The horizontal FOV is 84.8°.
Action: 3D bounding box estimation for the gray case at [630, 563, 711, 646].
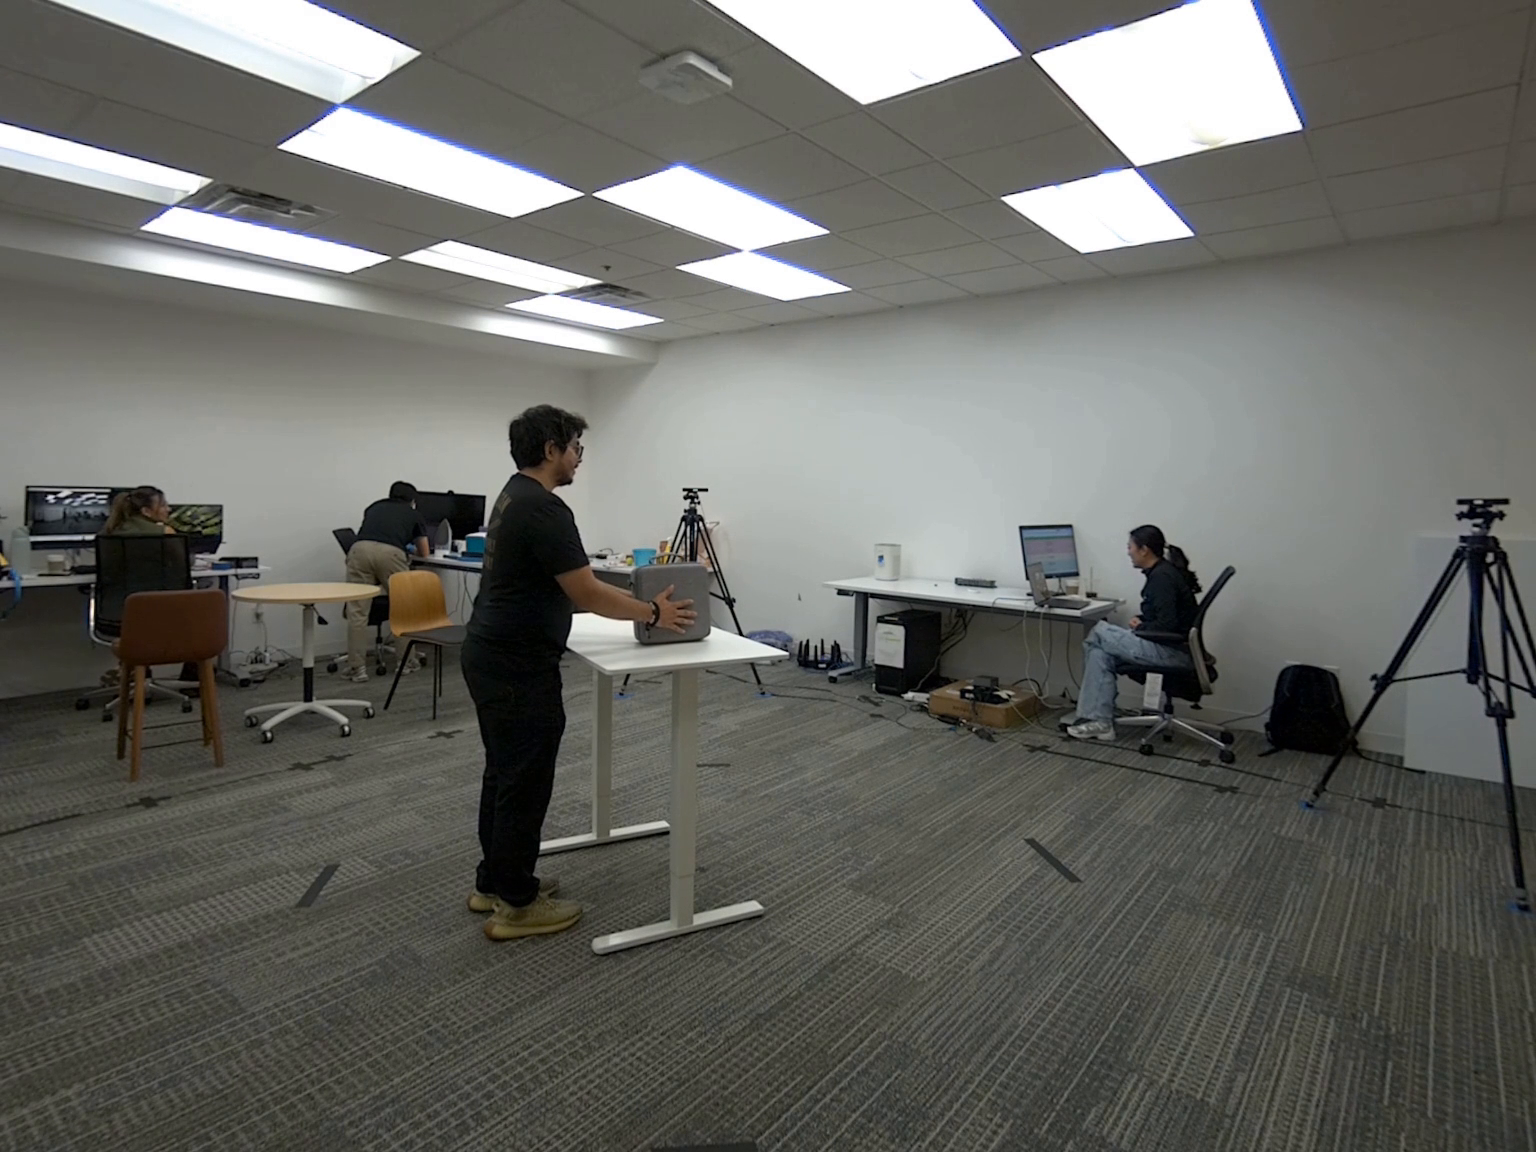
[{"bbox_3d":[-0.334,0.085,2.813,0.251,0.261,0.106,-3,-2,-23],"label":"gray case"}]
